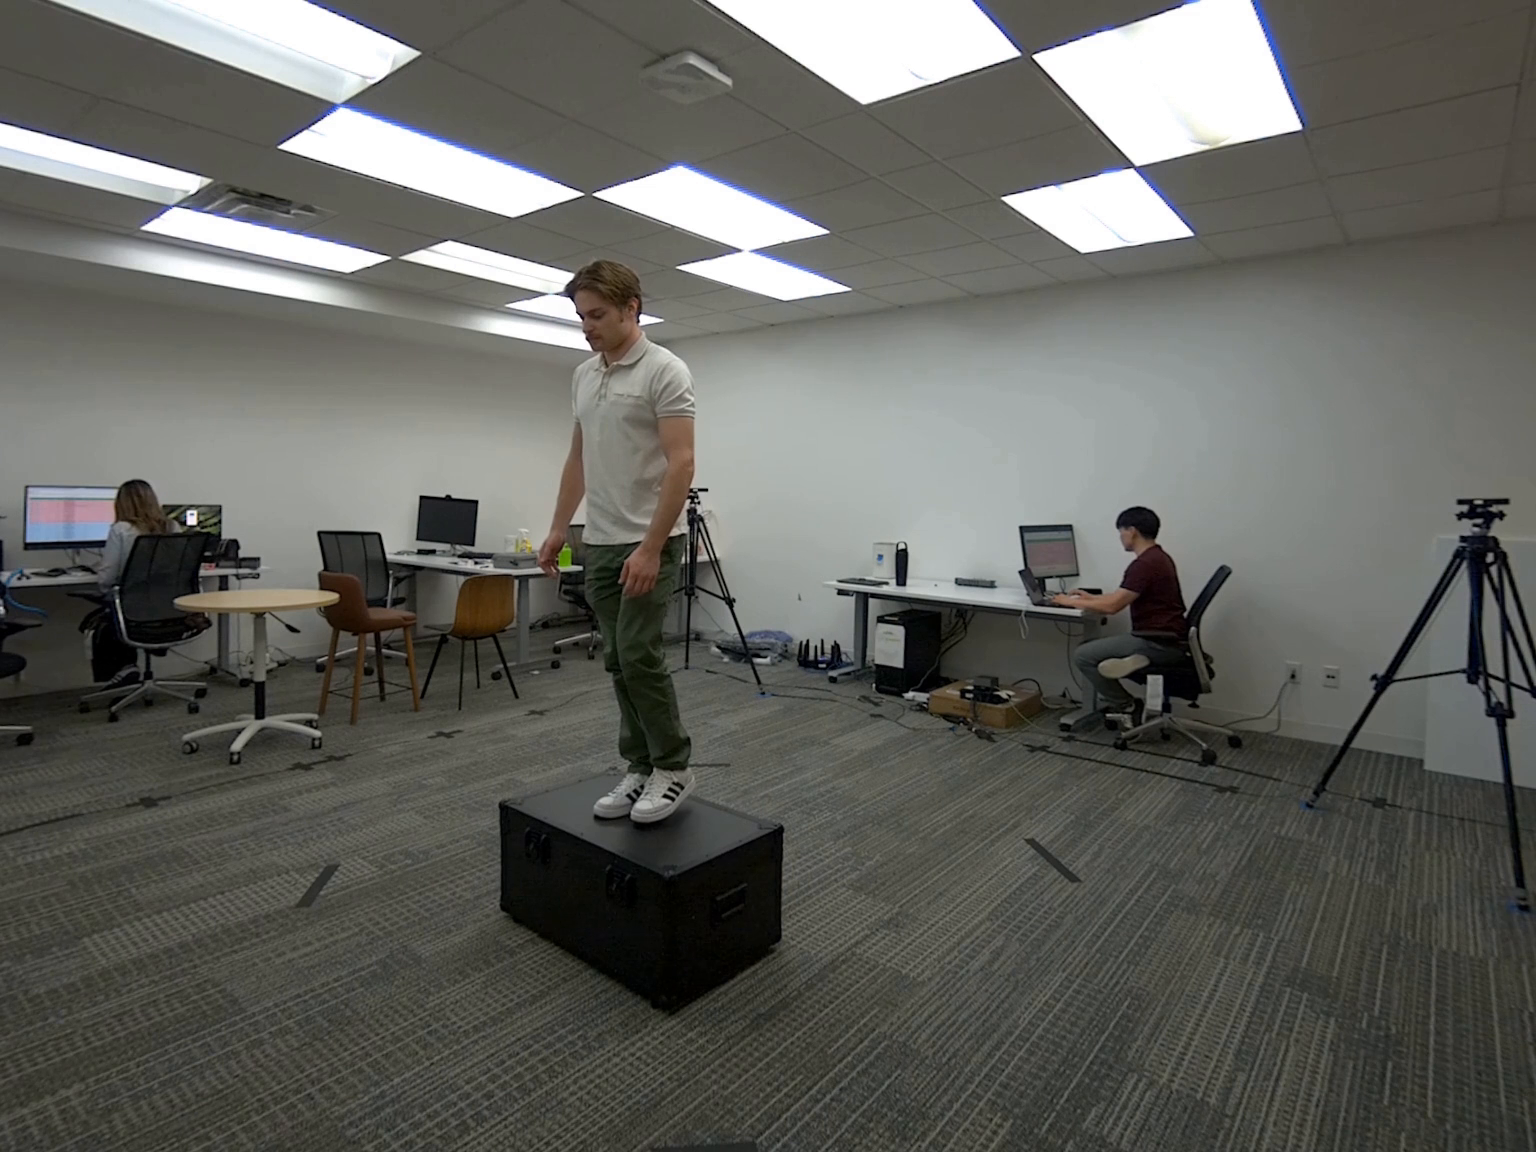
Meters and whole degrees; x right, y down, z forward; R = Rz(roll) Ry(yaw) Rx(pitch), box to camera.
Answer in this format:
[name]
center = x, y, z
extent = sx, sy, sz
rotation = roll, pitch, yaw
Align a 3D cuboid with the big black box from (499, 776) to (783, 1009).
[big black box]
center = -0.441, 0.921, 2.674
extent = 0.891, 0.395, 0.506
rotation = 6, 7, 40
